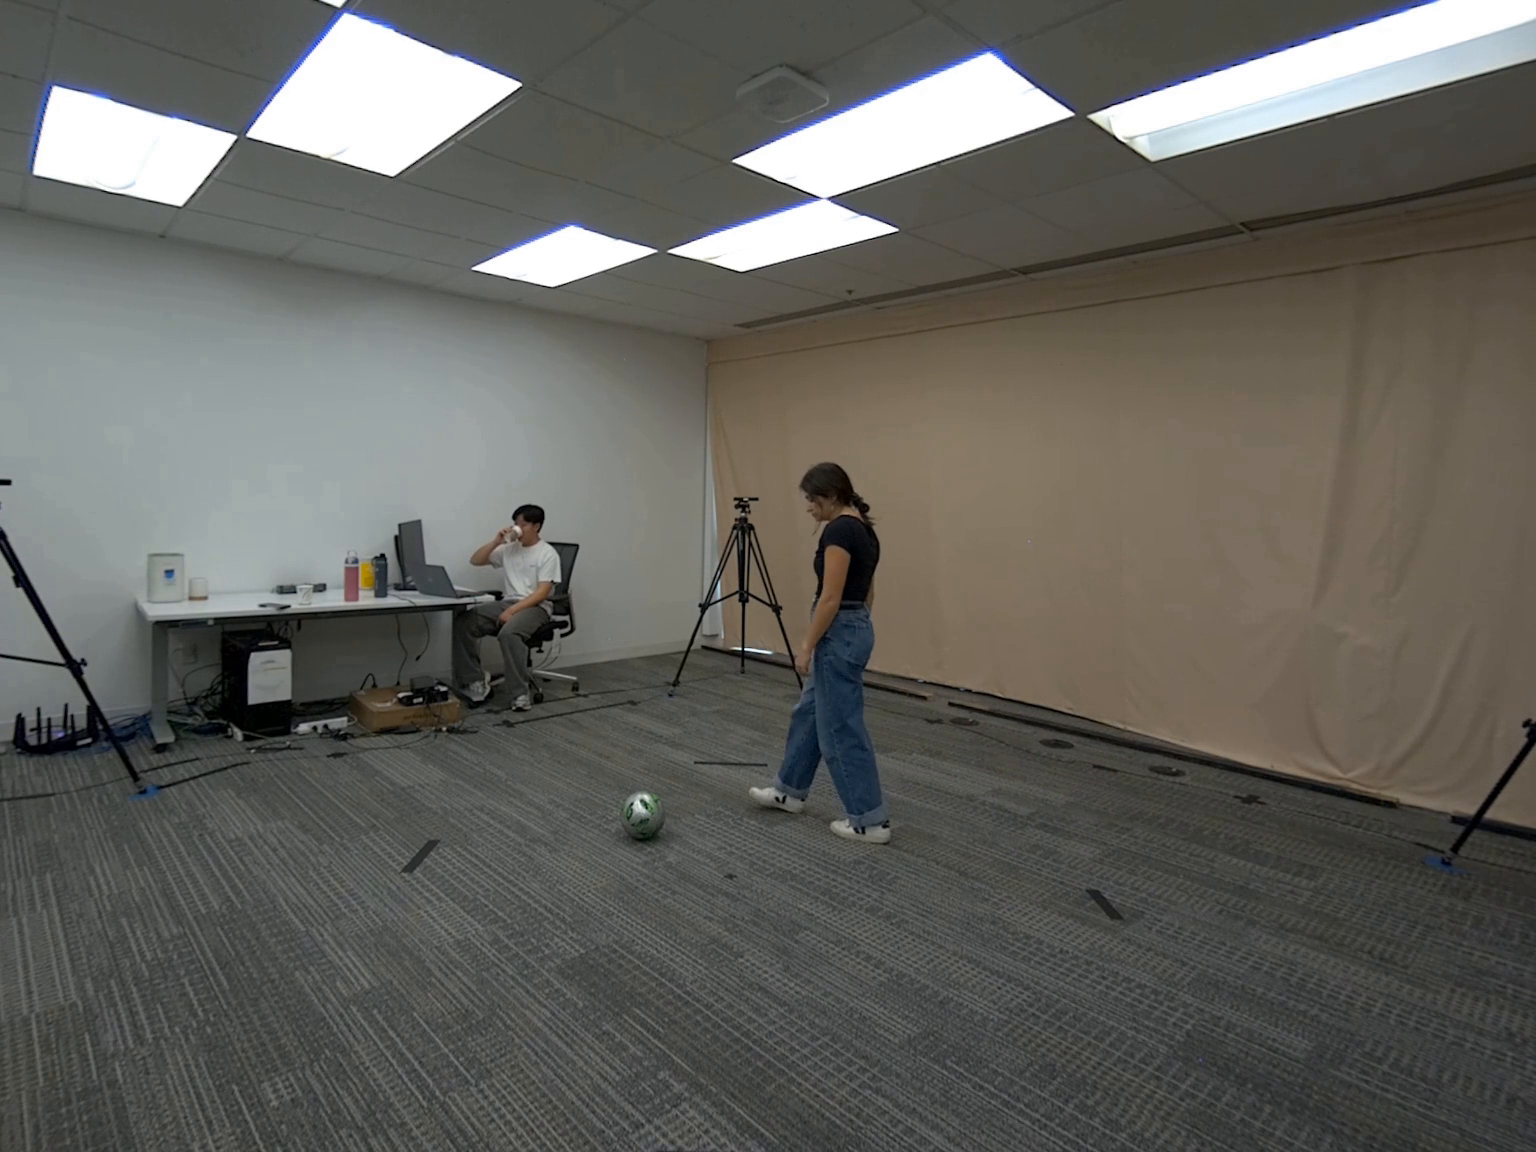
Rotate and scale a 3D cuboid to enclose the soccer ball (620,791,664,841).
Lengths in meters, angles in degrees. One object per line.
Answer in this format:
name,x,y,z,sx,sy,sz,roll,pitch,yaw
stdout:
soccer ball,-0.520,0.975,3.431,0.187,0.187,0.188,1,4,-1
